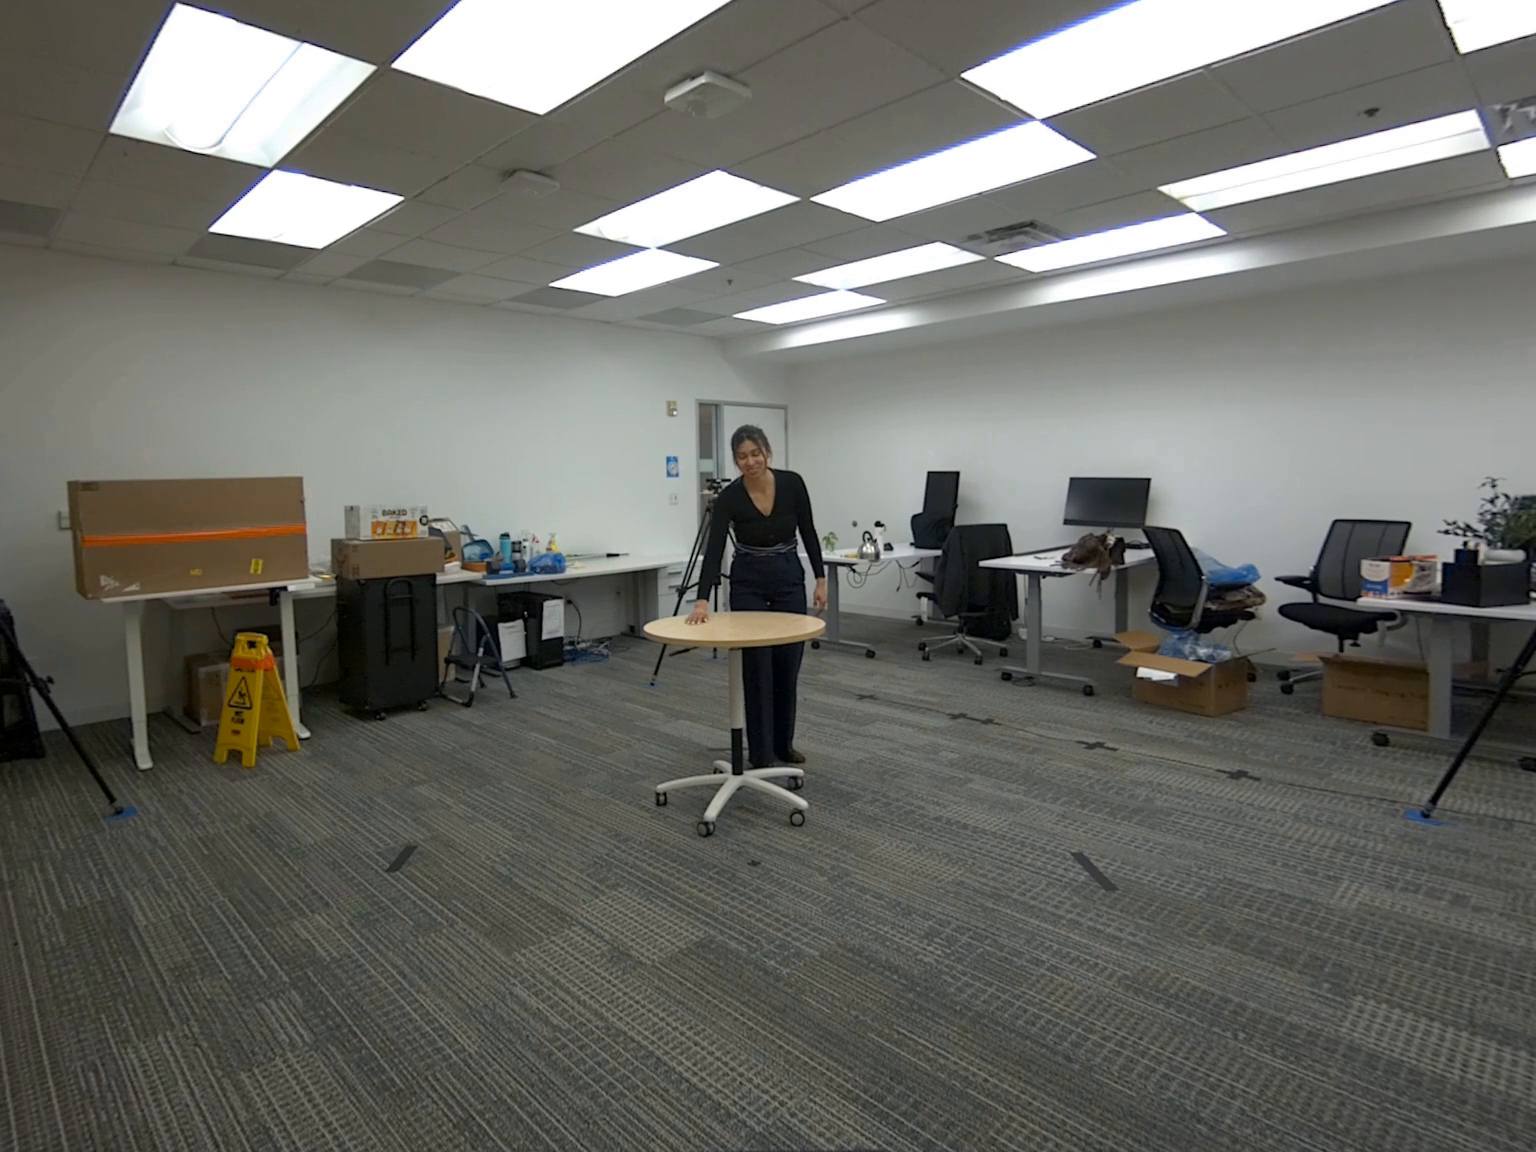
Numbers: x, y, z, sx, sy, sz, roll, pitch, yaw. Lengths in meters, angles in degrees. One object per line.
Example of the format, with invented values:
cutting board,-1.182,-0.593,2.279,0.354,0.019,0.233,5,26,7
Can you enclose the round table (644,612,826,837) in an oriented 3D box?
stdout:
round table,-0.133,0.599,3.630,0.763,0.791,0.767,-1,4,-2
